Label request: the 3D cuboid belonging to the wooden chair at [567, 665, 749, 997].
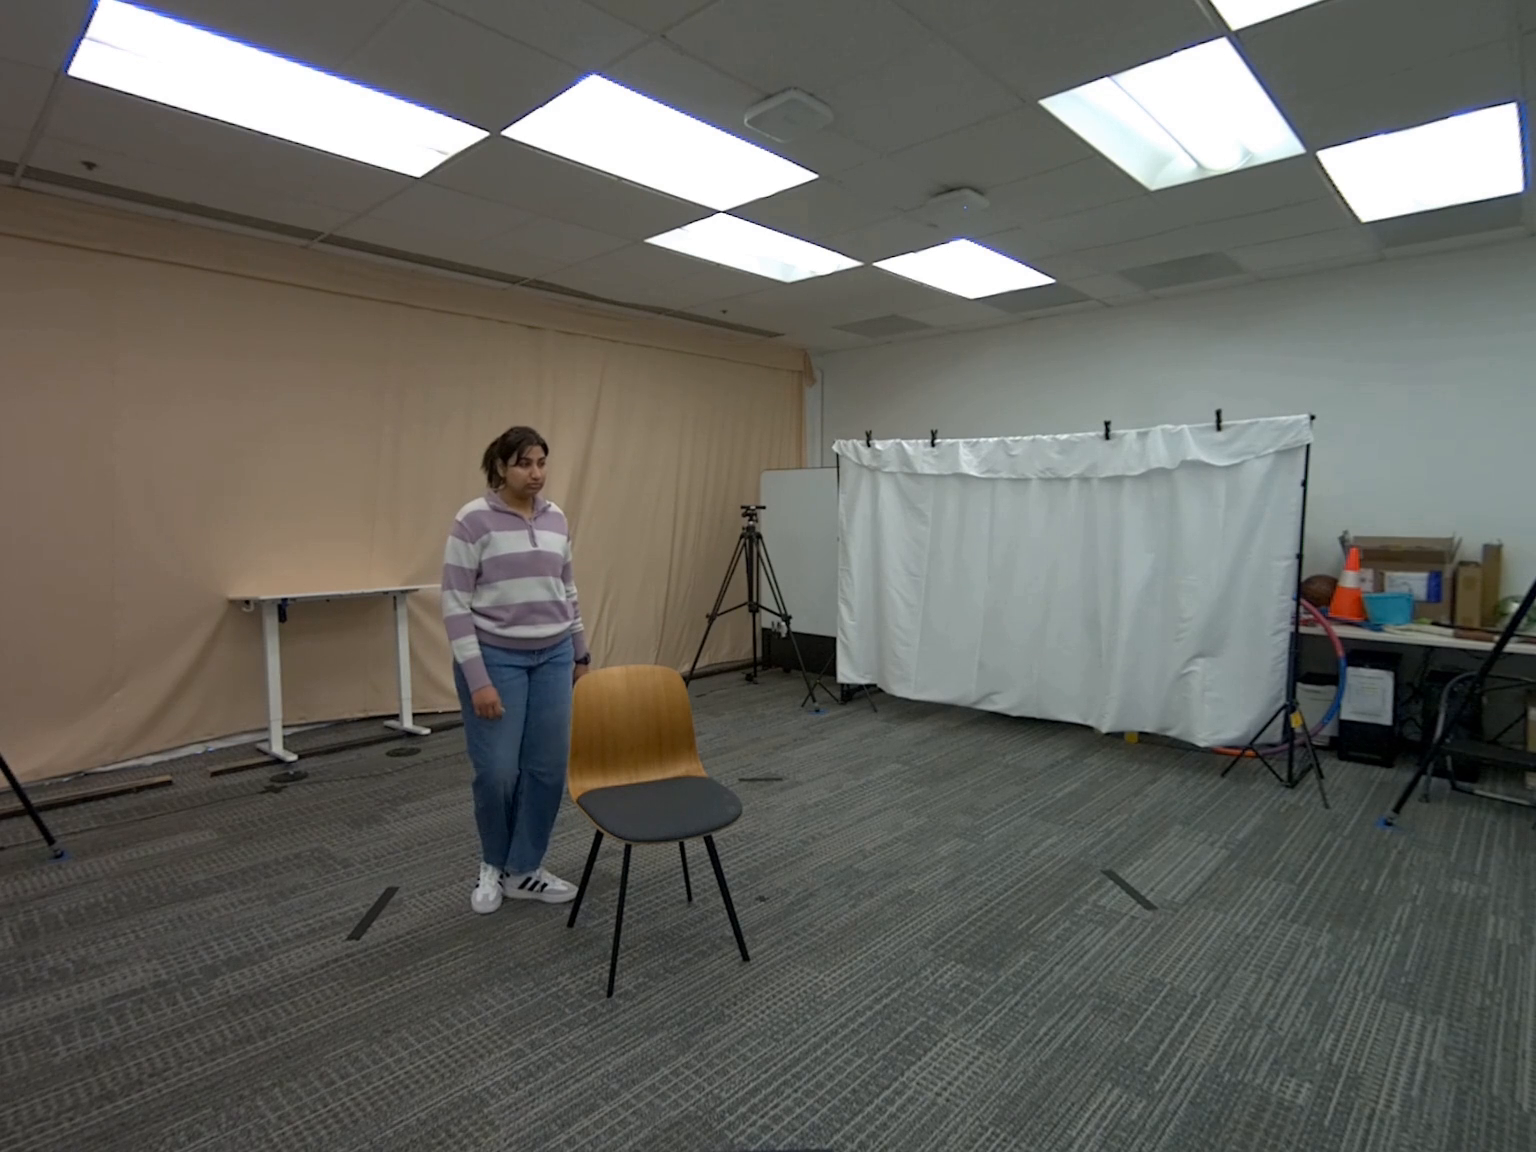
[{"bbox_3d":[-0.354,0.749,2.643,0.466,0.878,0.536,-2,0,-27],"label":"wooden chair"}]
